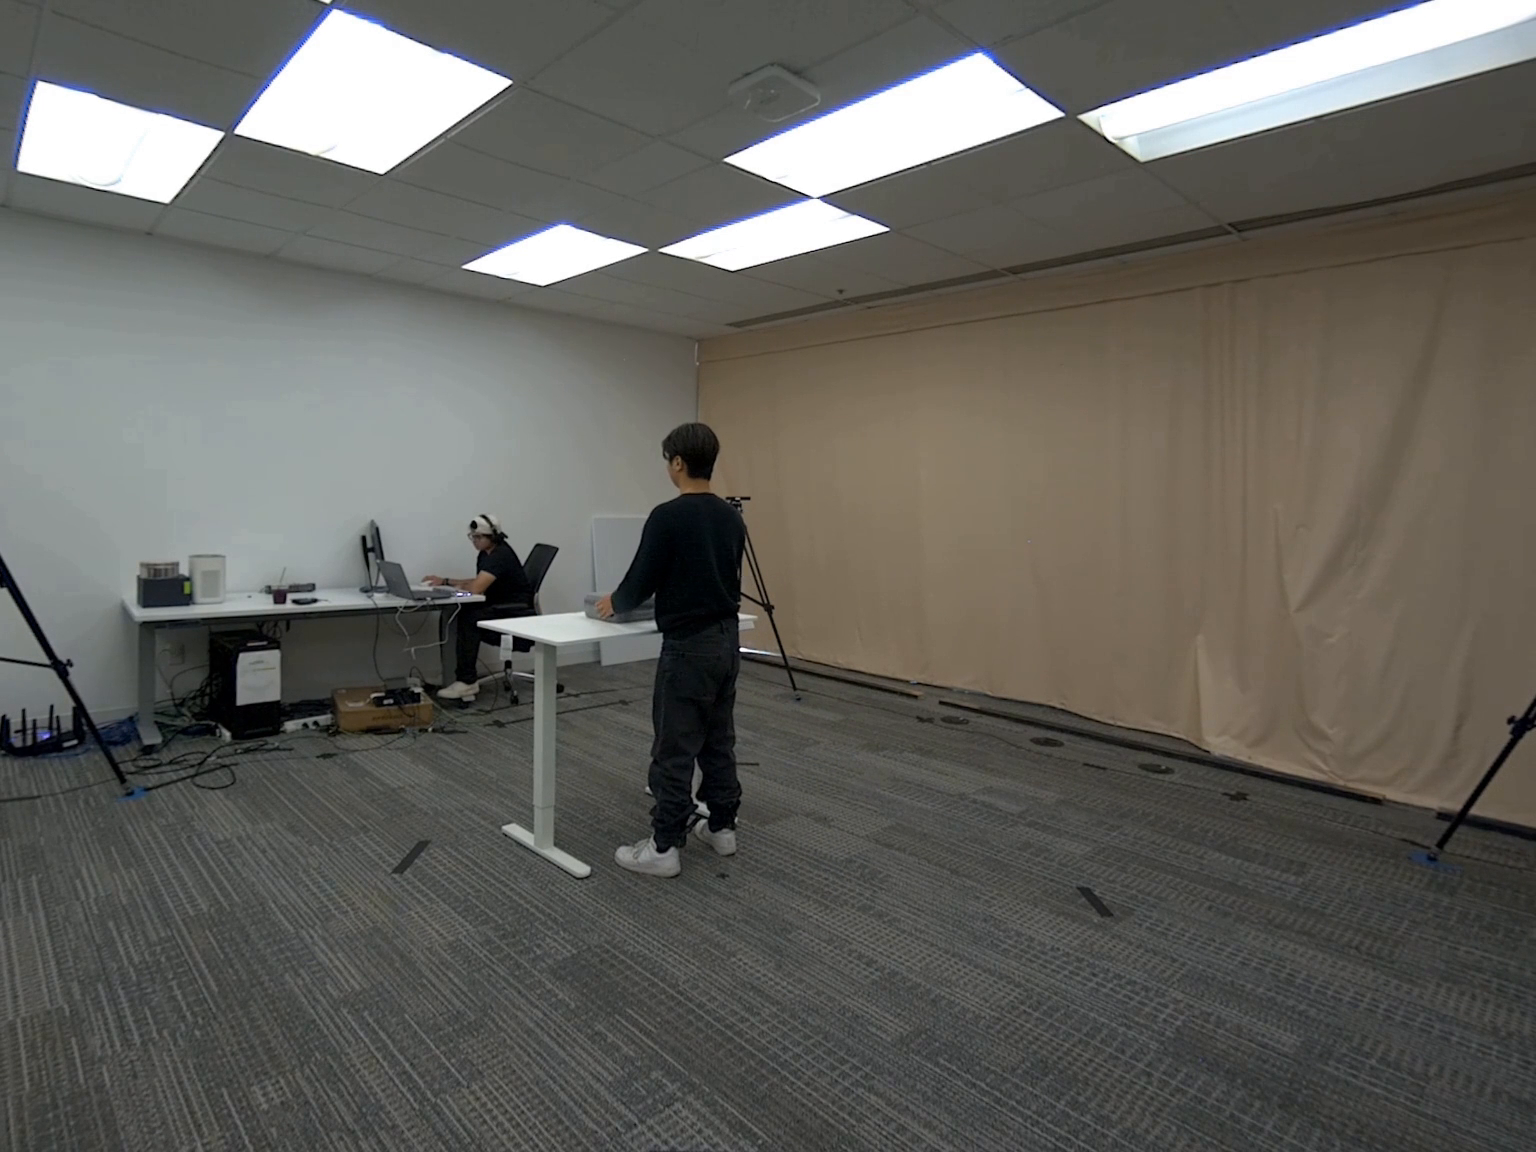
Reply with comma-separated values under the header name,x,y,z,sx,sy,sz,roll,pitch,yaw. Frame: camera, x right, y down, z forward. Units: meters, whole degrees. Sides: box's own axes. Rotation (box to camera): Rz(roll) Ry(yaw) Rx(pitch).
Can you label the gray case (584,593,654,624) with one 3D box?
name,x,y,z,sx,sy,sz,roll,pitch,yaw
gray case,-0.611,0.125,3.527,0.251,0.104,0.267,-4,6,-44
